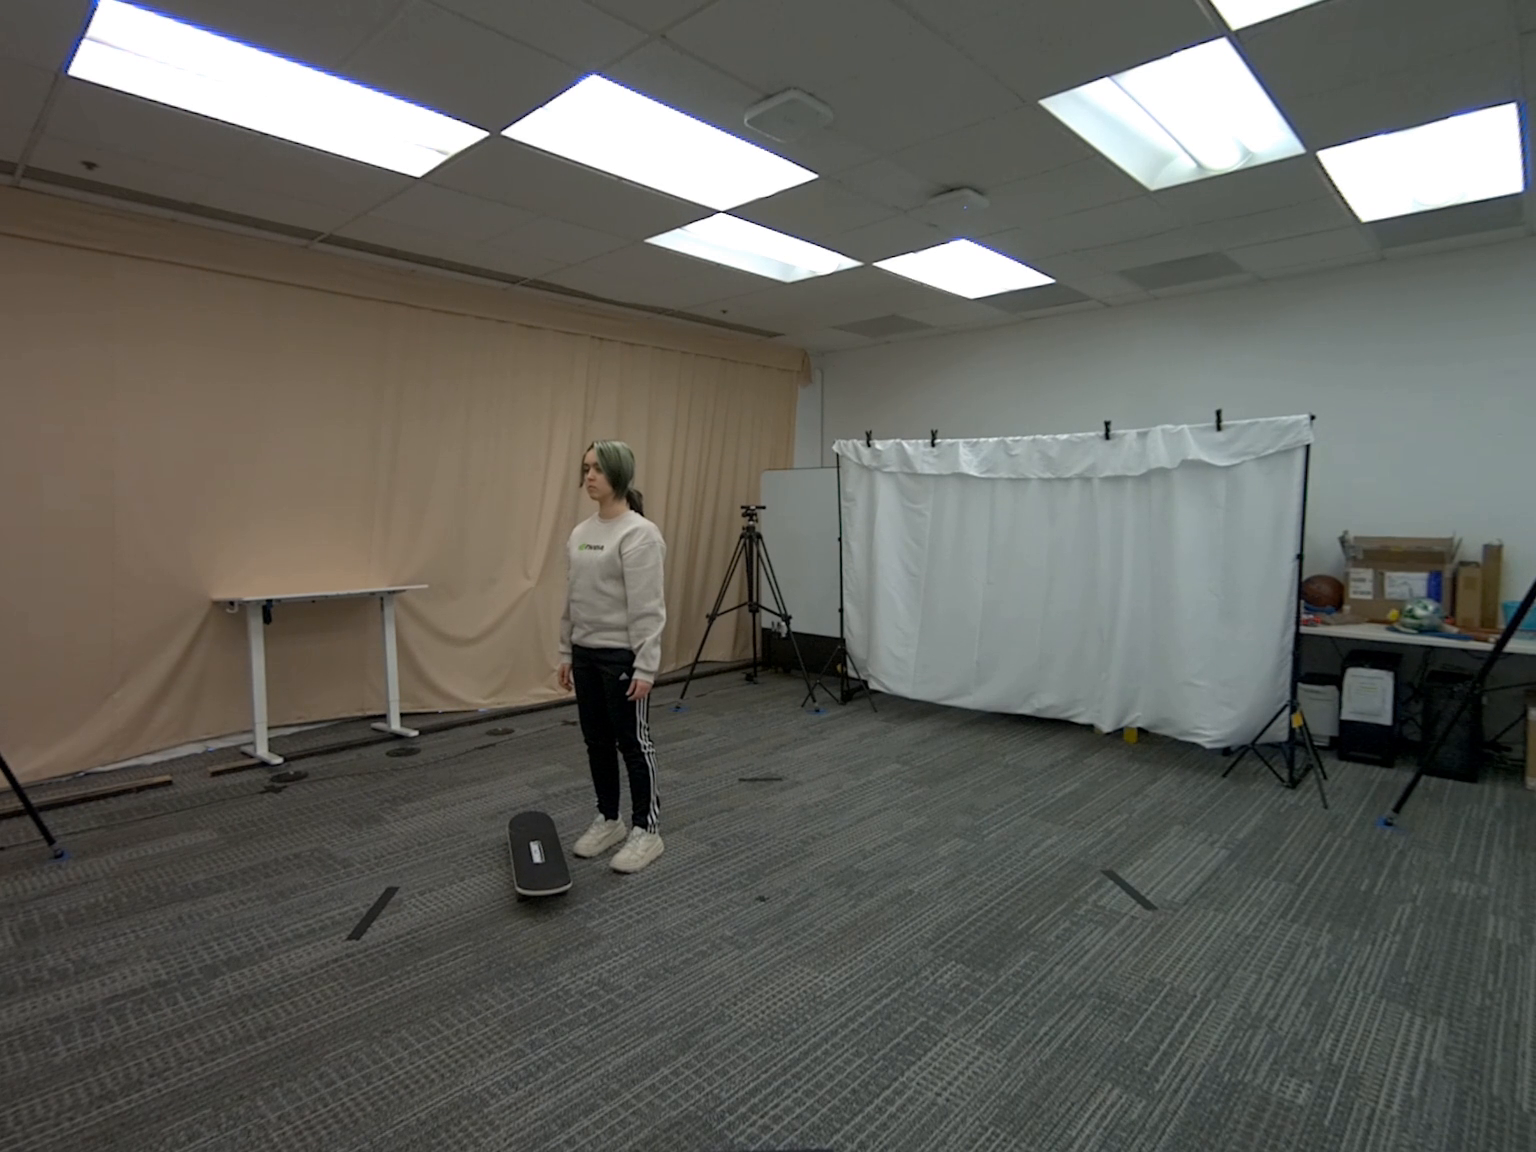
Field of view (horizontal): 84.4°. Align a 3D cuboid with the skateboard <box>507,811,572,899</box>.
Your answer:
[{"bbox_3d":[-0.878,1.077,3.193,0.190,0.110,0.802,-2,4,-20],"label":"skateboard"}]
